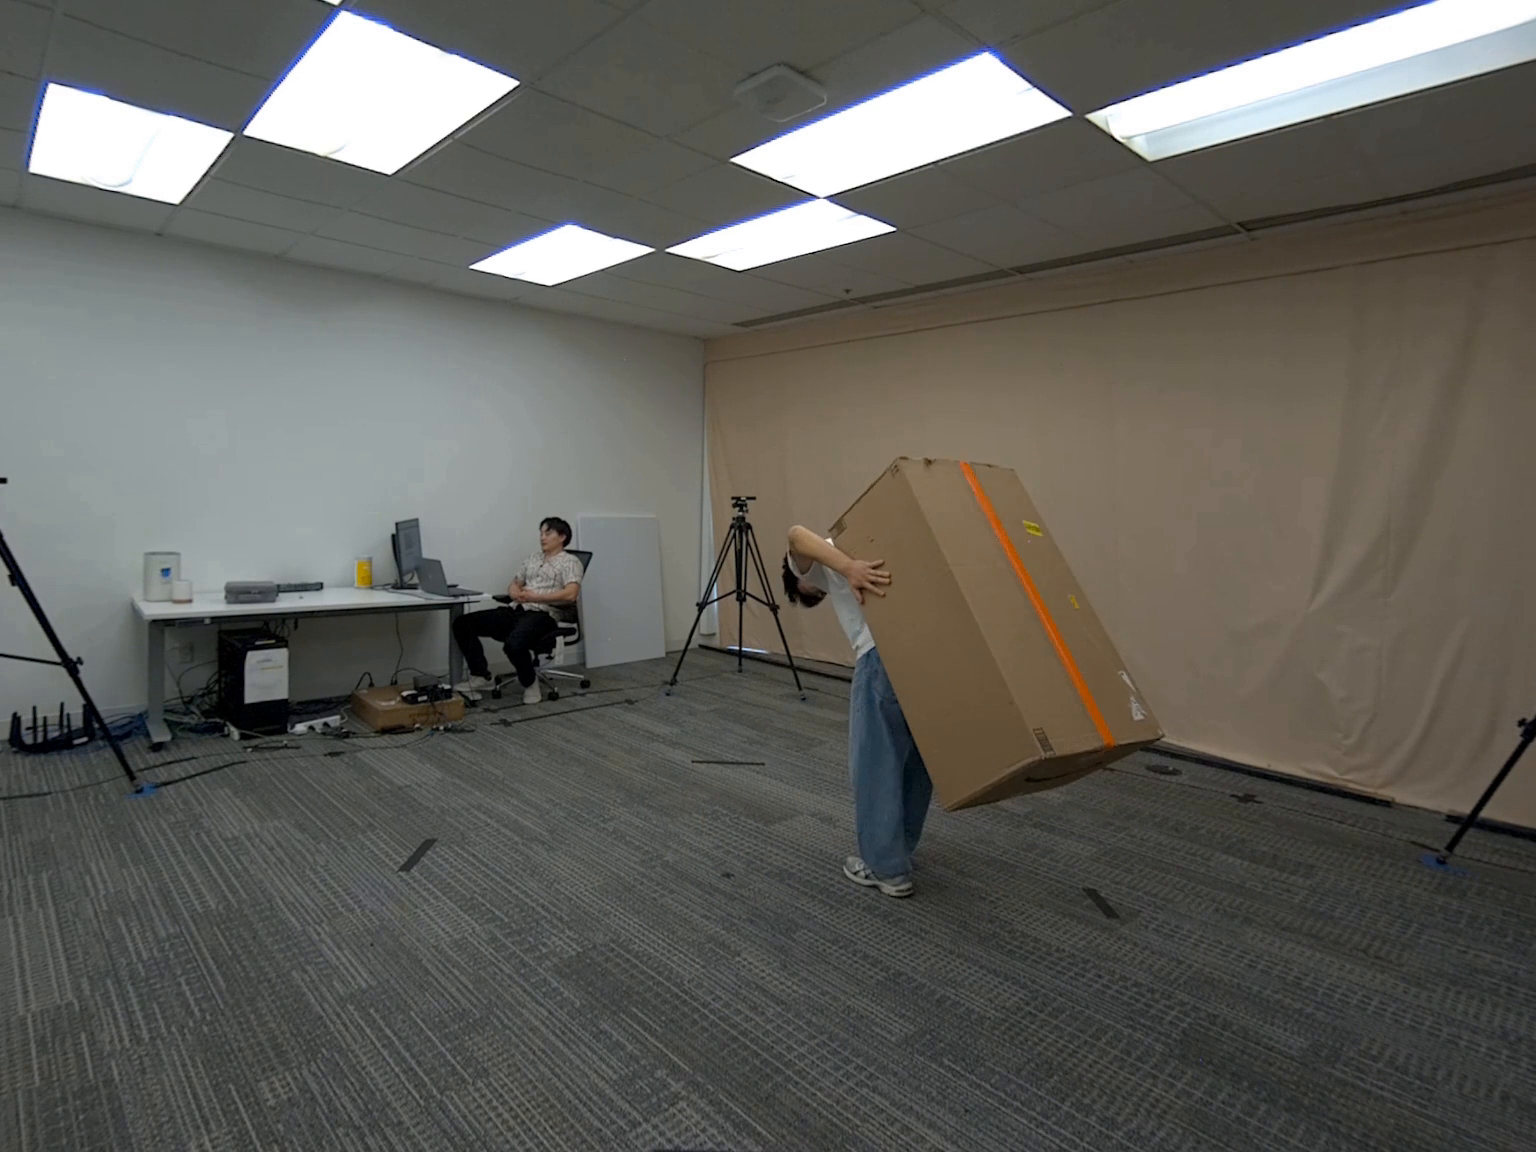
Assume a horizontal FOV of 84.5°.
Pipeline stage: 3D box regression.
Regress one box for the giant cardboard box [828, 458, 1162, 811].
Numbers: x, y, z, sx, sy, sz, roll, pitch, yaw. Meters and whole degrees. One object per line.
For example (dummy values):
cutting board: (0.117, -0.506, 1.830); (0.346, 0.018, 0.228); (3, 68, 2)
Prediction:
giant cardboard box: (0.698, 0.166, 2.748); (0.564, 1.050, 0.426); (1, -33, -35)
